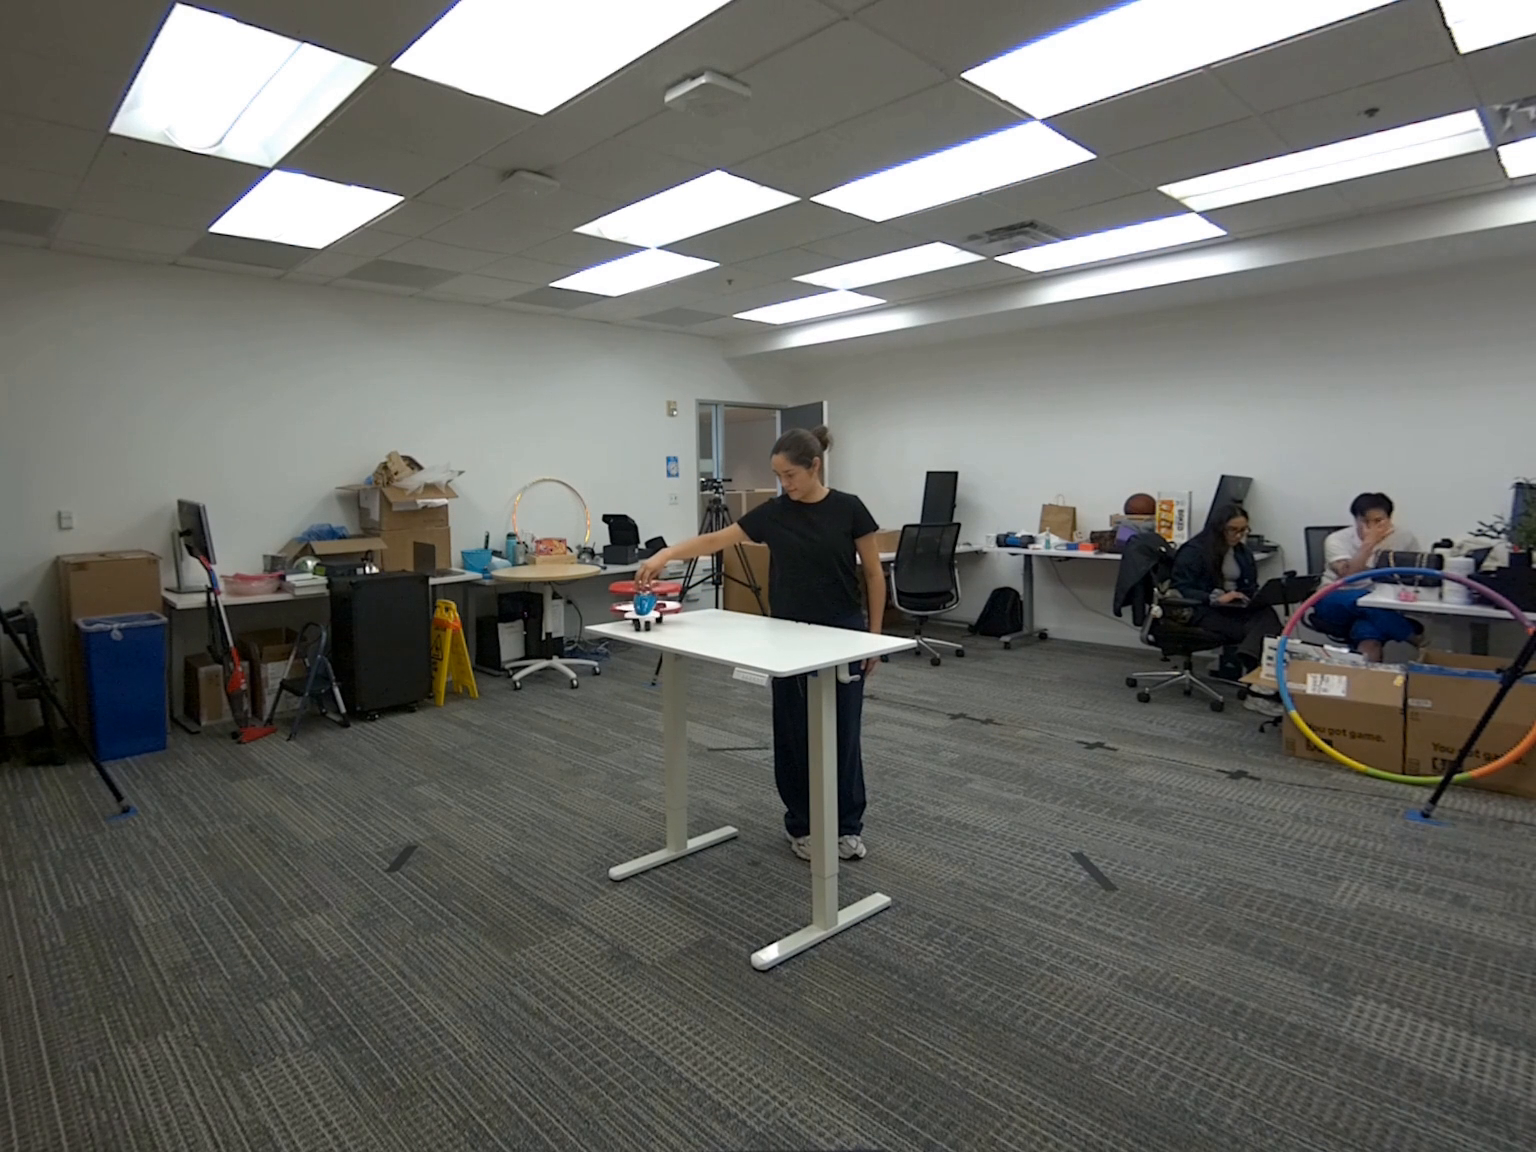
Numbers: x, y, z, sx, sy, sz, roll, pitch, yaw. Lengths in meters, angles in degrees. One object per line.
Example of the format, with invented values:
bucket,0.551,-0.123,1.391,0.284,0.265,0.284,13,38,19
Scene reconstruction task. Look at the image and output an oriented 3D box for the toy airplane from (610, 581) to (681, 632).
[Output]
toy airplane,-0.418,0.098,3.038,0.246,0.156,0.265,-2,4,-26
